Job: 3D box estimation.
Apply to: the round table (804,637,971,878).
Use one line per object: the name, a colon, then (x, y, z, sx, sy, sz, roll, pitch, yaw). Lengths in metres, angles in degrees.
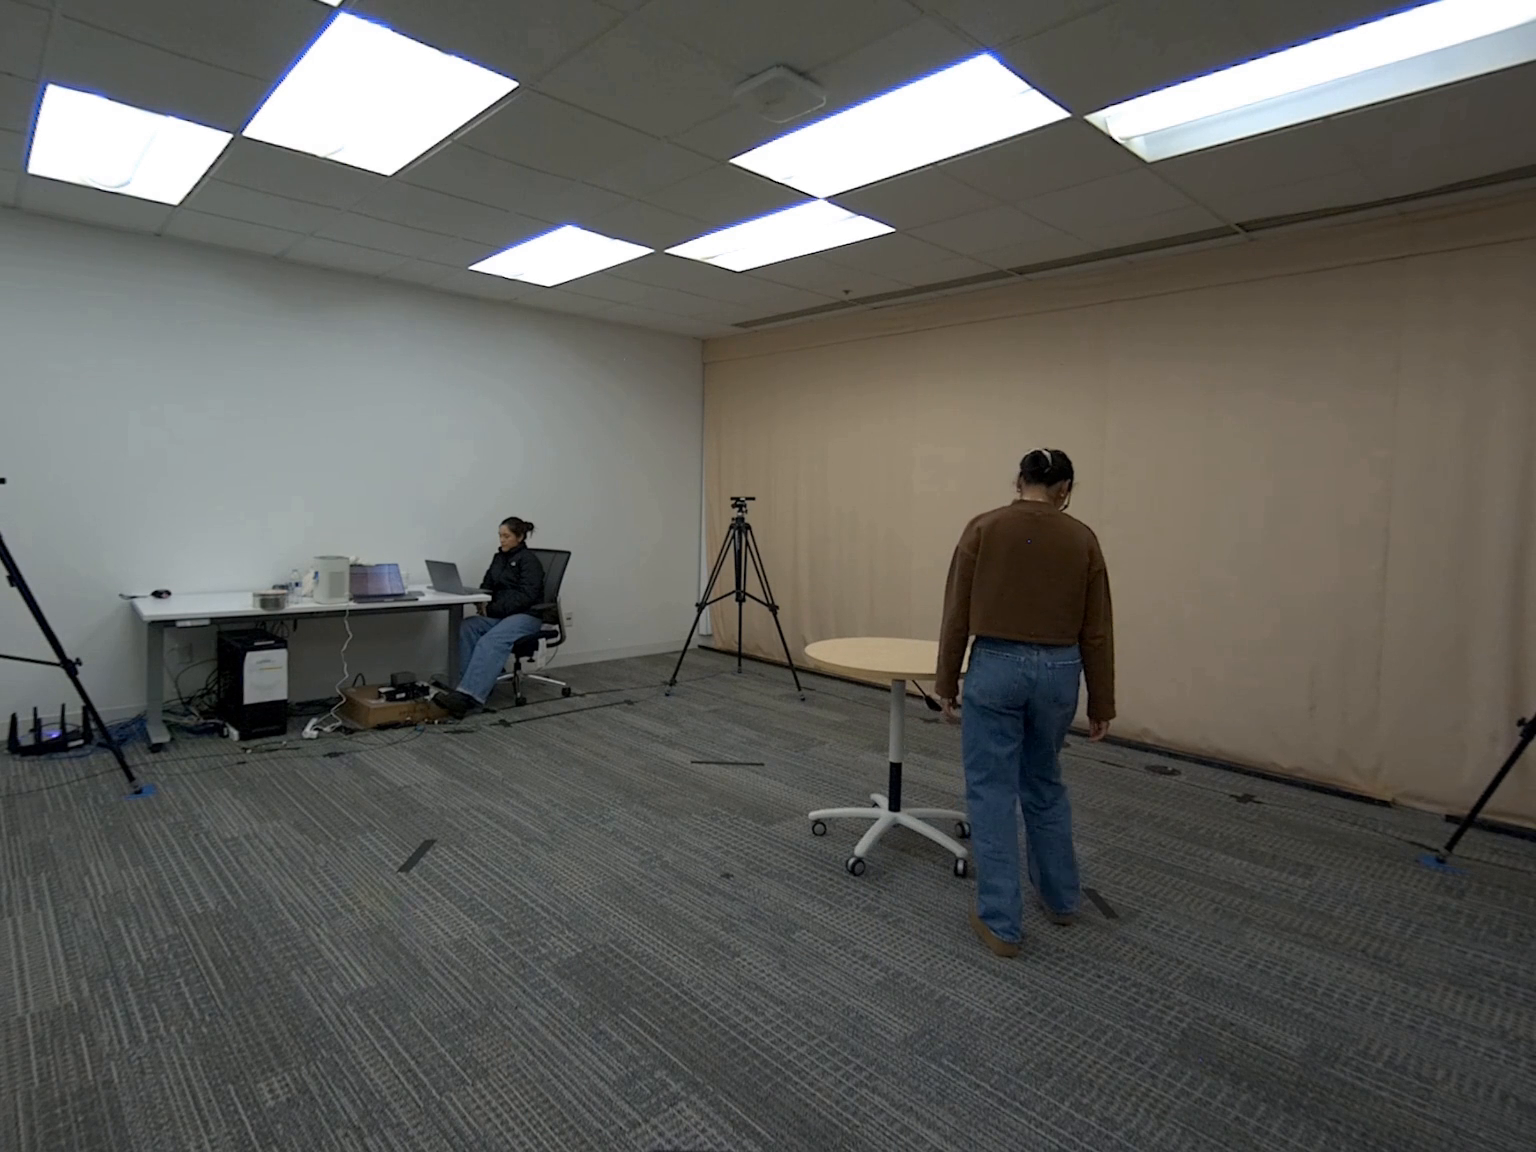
round table: (0.513, 0.706, 3.408, 0.763, 0.792, 0.766, 1, 4, -1)
